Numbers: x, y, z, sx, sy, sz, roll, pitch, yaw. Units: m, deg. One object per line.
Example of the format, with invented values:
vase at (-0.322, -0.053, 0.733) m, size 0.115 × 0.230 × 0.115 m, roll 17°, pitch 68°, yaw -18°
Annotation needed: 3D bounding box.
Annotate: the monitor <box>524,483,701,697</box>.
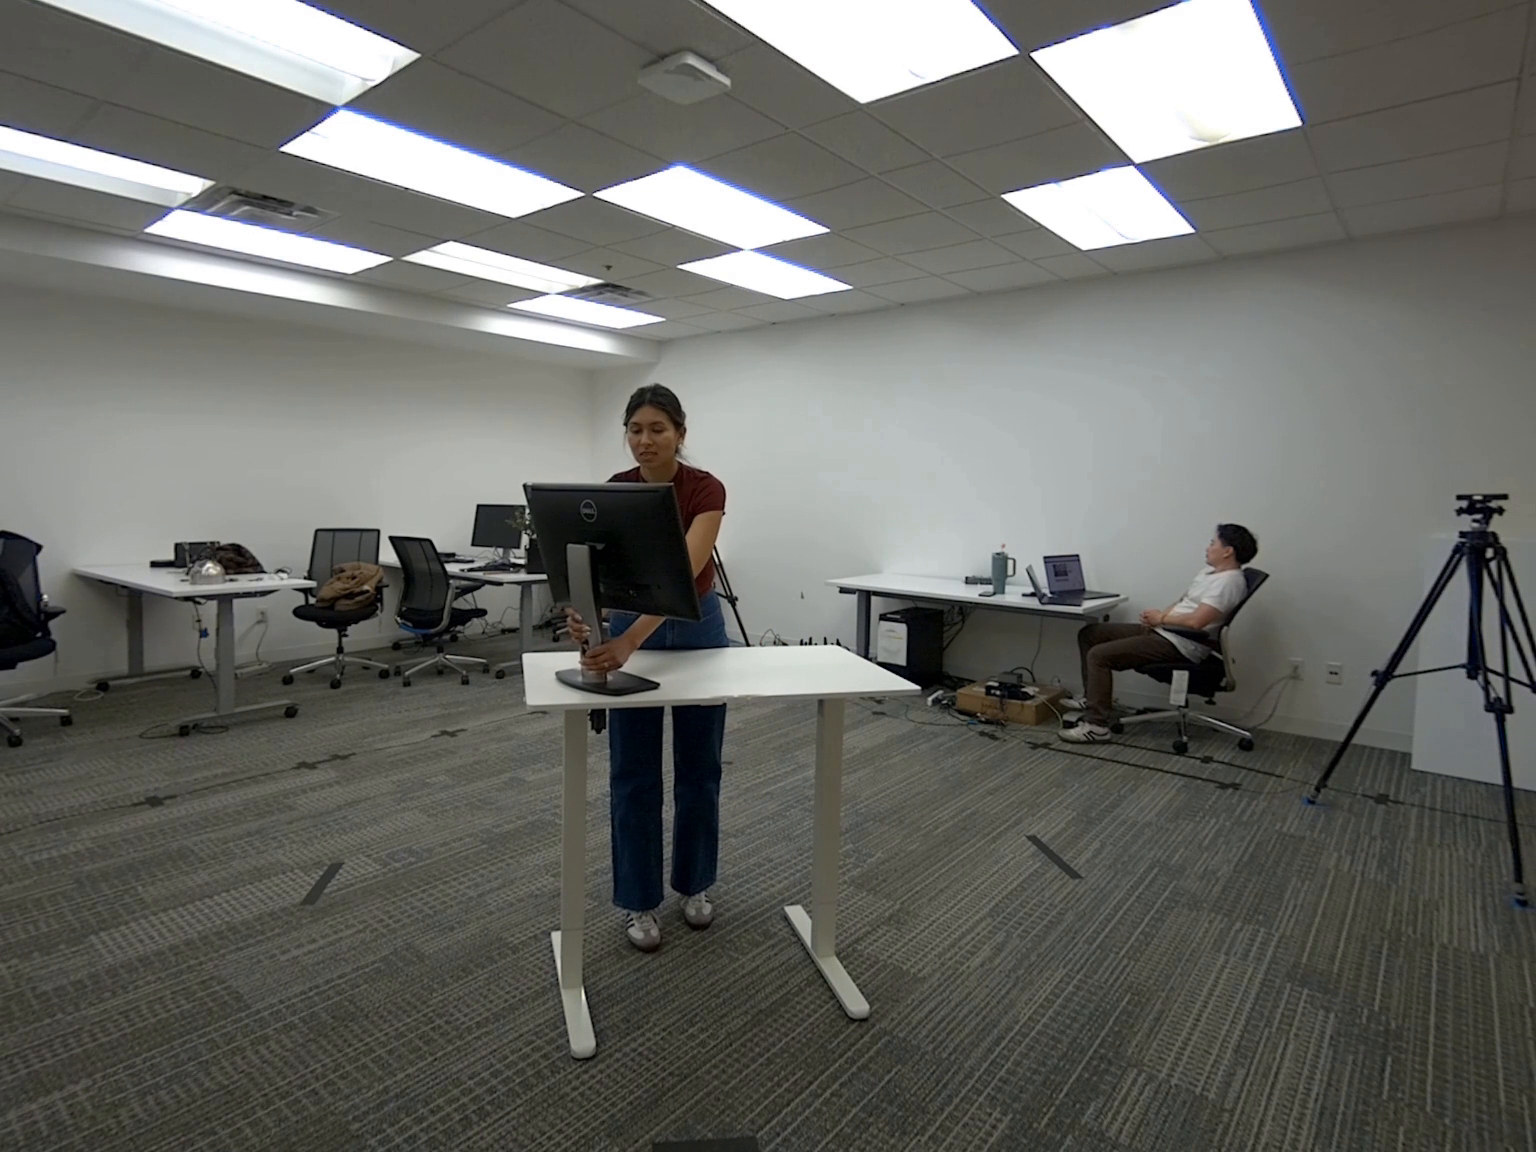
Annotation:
monitor at (-0.433, 0.017, 2.178) m, size 0.557 × 0.520 × 0.182 m, roll 4°, pitch 7°, yaw 37°
